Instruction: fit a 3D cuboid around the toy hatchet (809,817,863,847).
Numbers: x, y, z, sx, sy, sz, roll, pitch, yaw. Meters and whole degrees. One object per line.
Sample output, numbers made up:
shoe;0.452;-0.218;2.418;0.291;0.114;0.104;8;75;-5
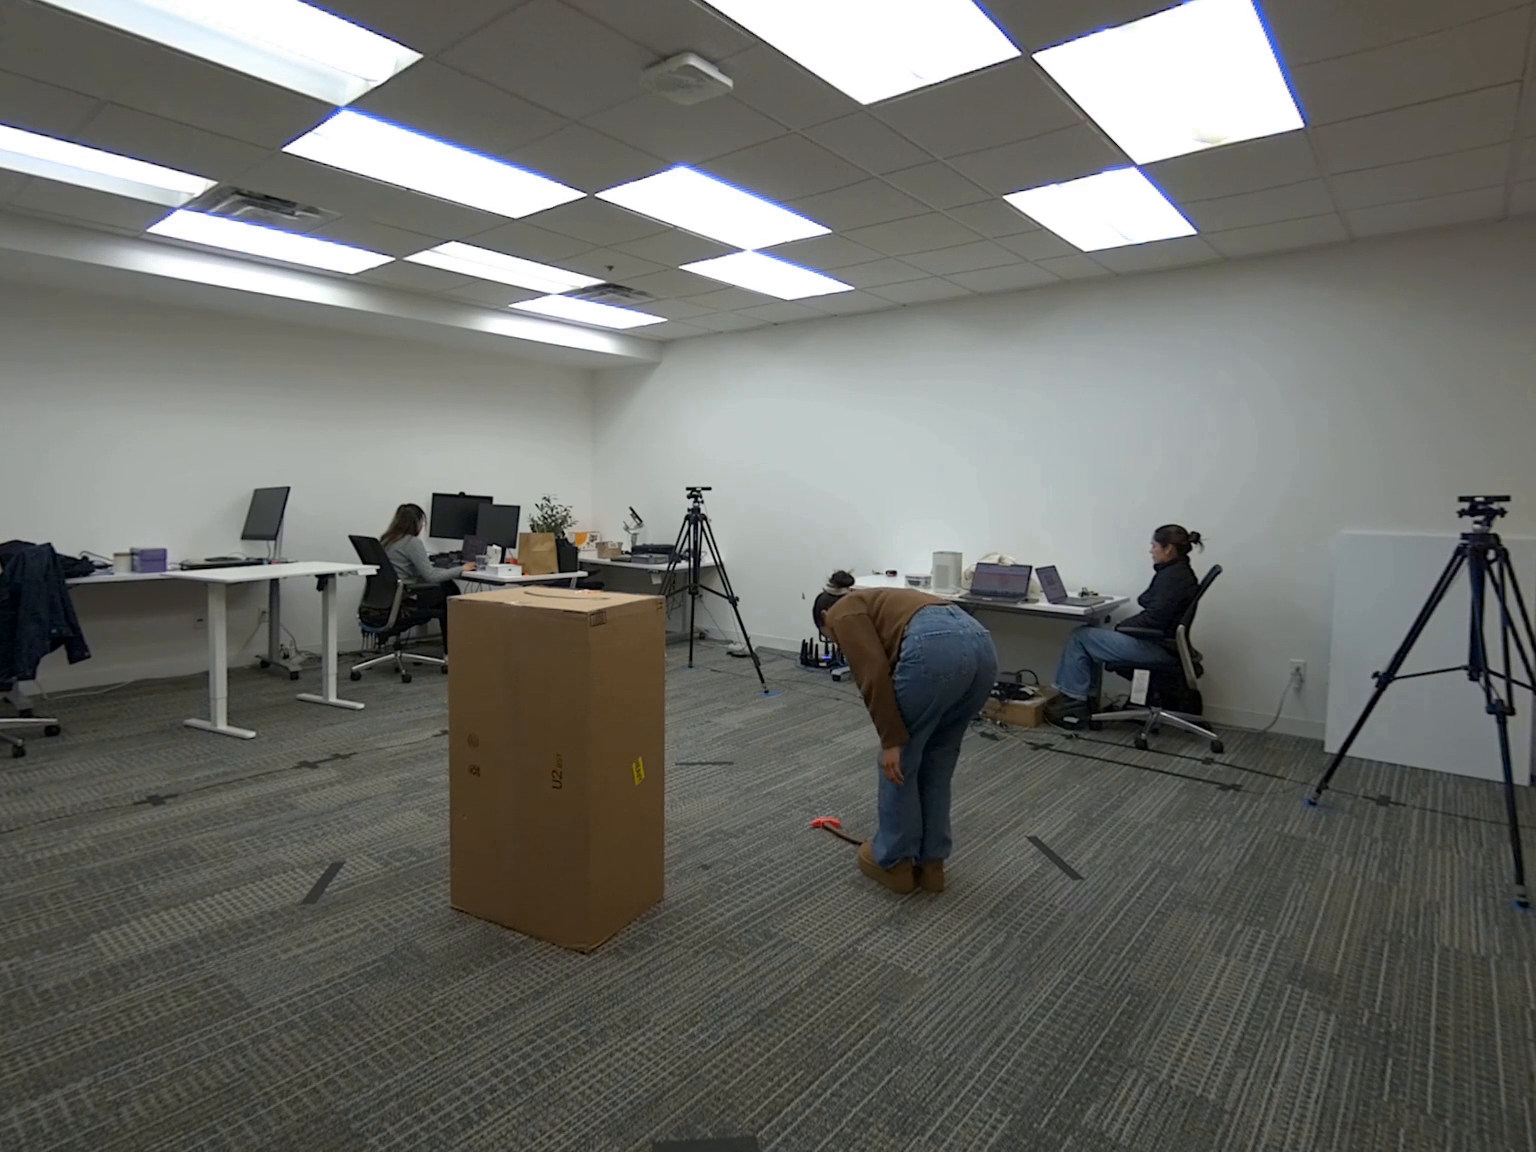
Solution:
toy hatchet;0.301;1.032;3.461;0.280;0.029;0.127;8;8;42
